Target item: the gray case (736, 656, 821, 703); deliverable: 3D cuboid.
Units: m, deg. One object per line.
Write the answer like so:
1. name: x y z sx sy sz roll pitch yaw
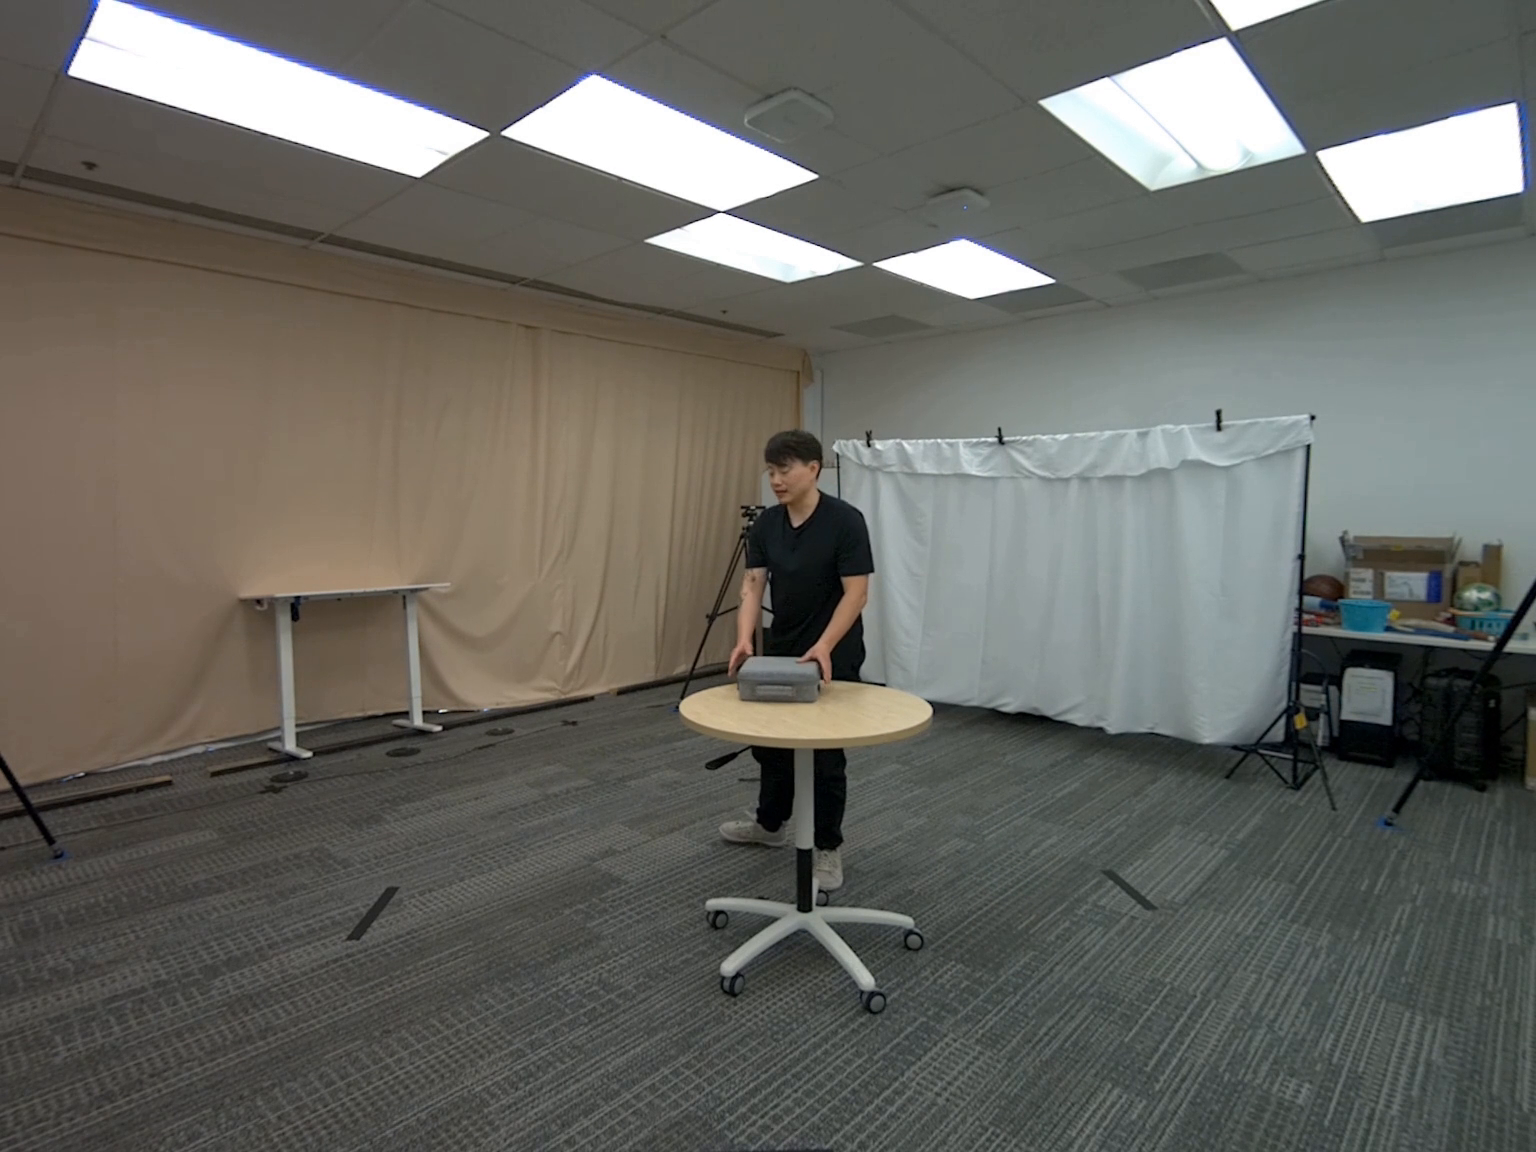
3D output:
1. gray case: 0.042 0.333 2.730 0.260 0.104 0.258 2 5 9
